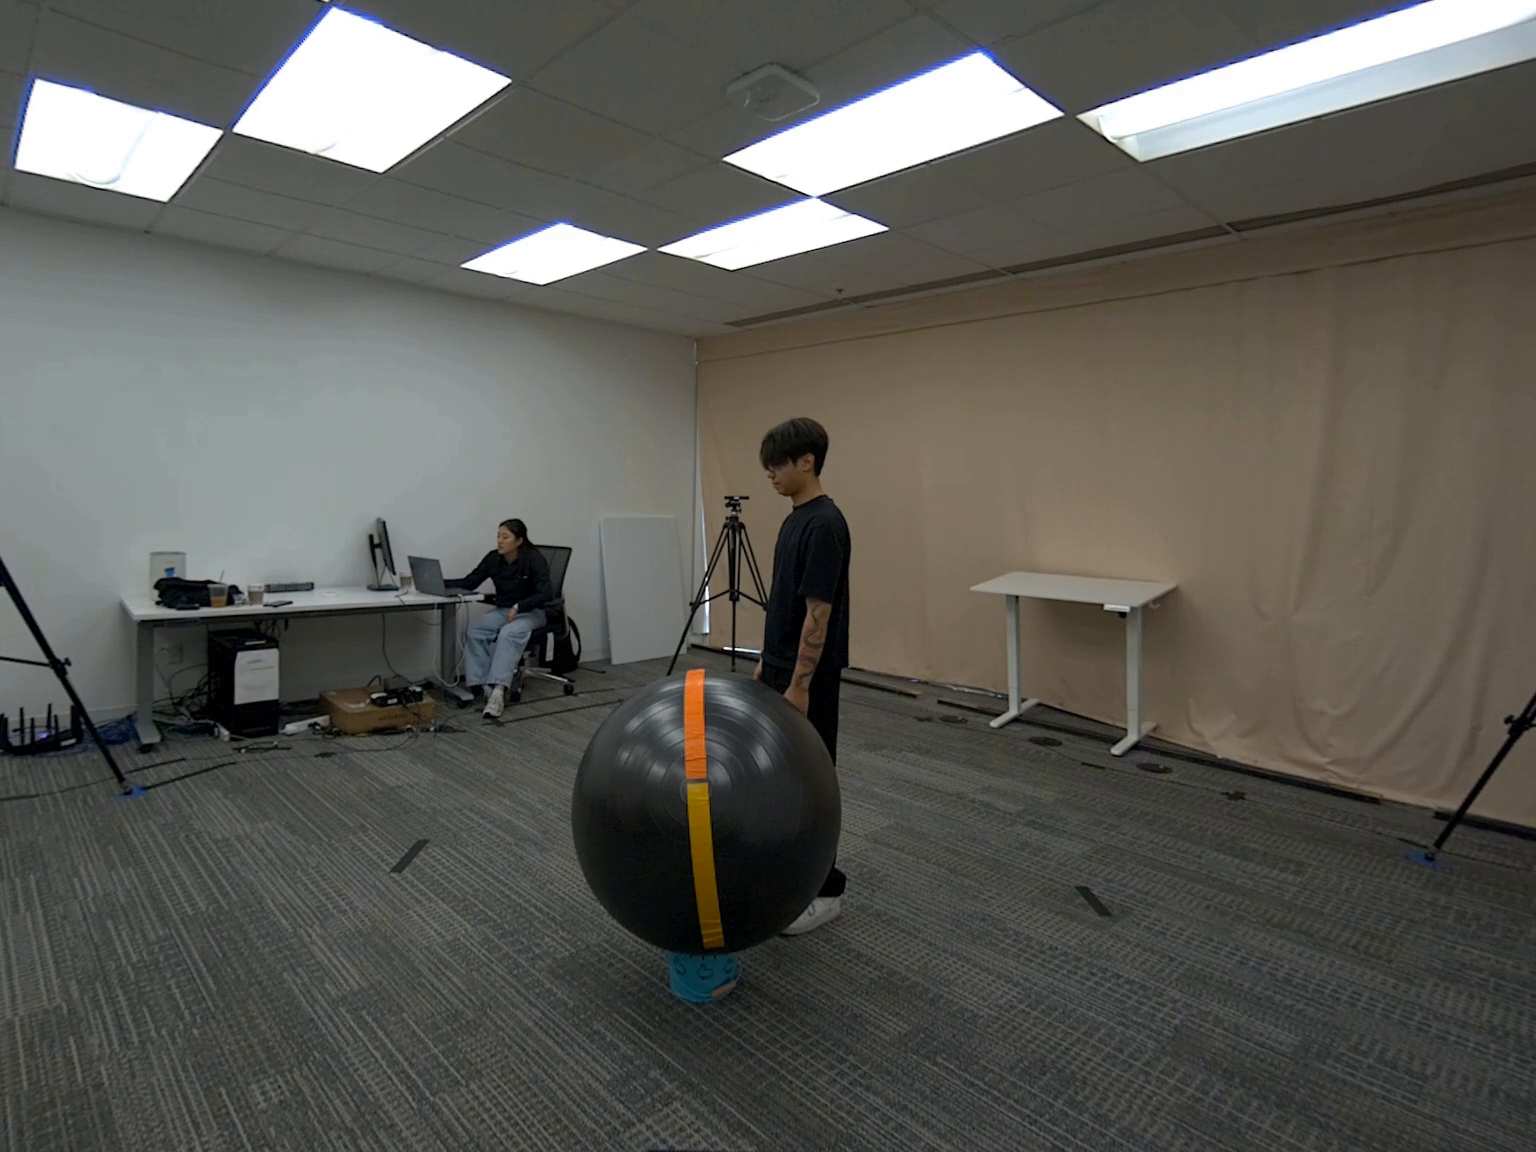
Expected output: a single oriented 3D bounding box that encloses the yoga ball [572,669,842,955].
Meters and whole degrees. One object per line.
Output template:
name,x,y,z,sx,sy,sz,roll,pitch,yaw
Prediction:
yoga ball,-0.180,0.666,2.369,0.757,0.756,0.761,1,4,-1
